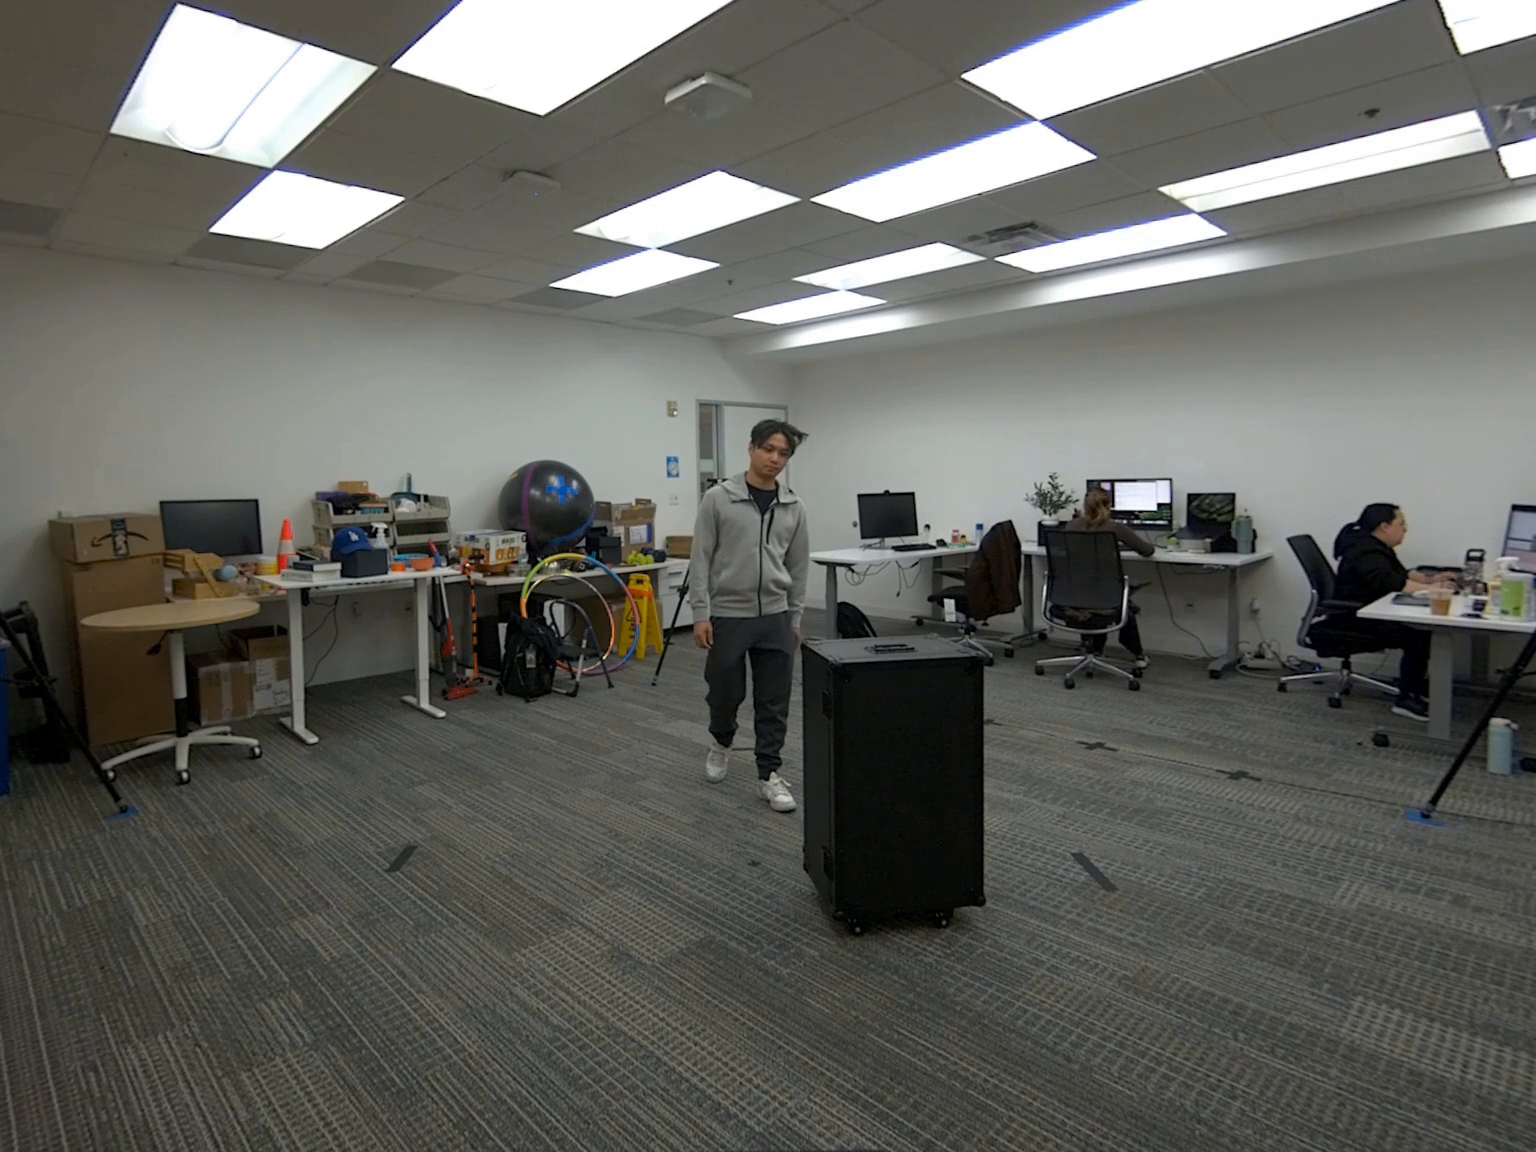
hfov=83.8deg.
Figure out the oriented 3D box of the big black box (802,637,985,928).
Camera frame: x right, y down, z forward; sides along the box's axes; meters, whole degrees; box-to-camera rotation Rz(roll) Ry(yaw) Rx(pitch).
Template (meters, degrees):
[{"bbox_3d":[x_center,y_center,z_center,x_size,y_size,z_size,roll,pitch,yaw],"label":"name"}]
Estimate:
[{"bbox_3d":[0.397,0.591,2.751,0.515,0.858,0.402,-2,4,-12],"label":"big black box"}]
